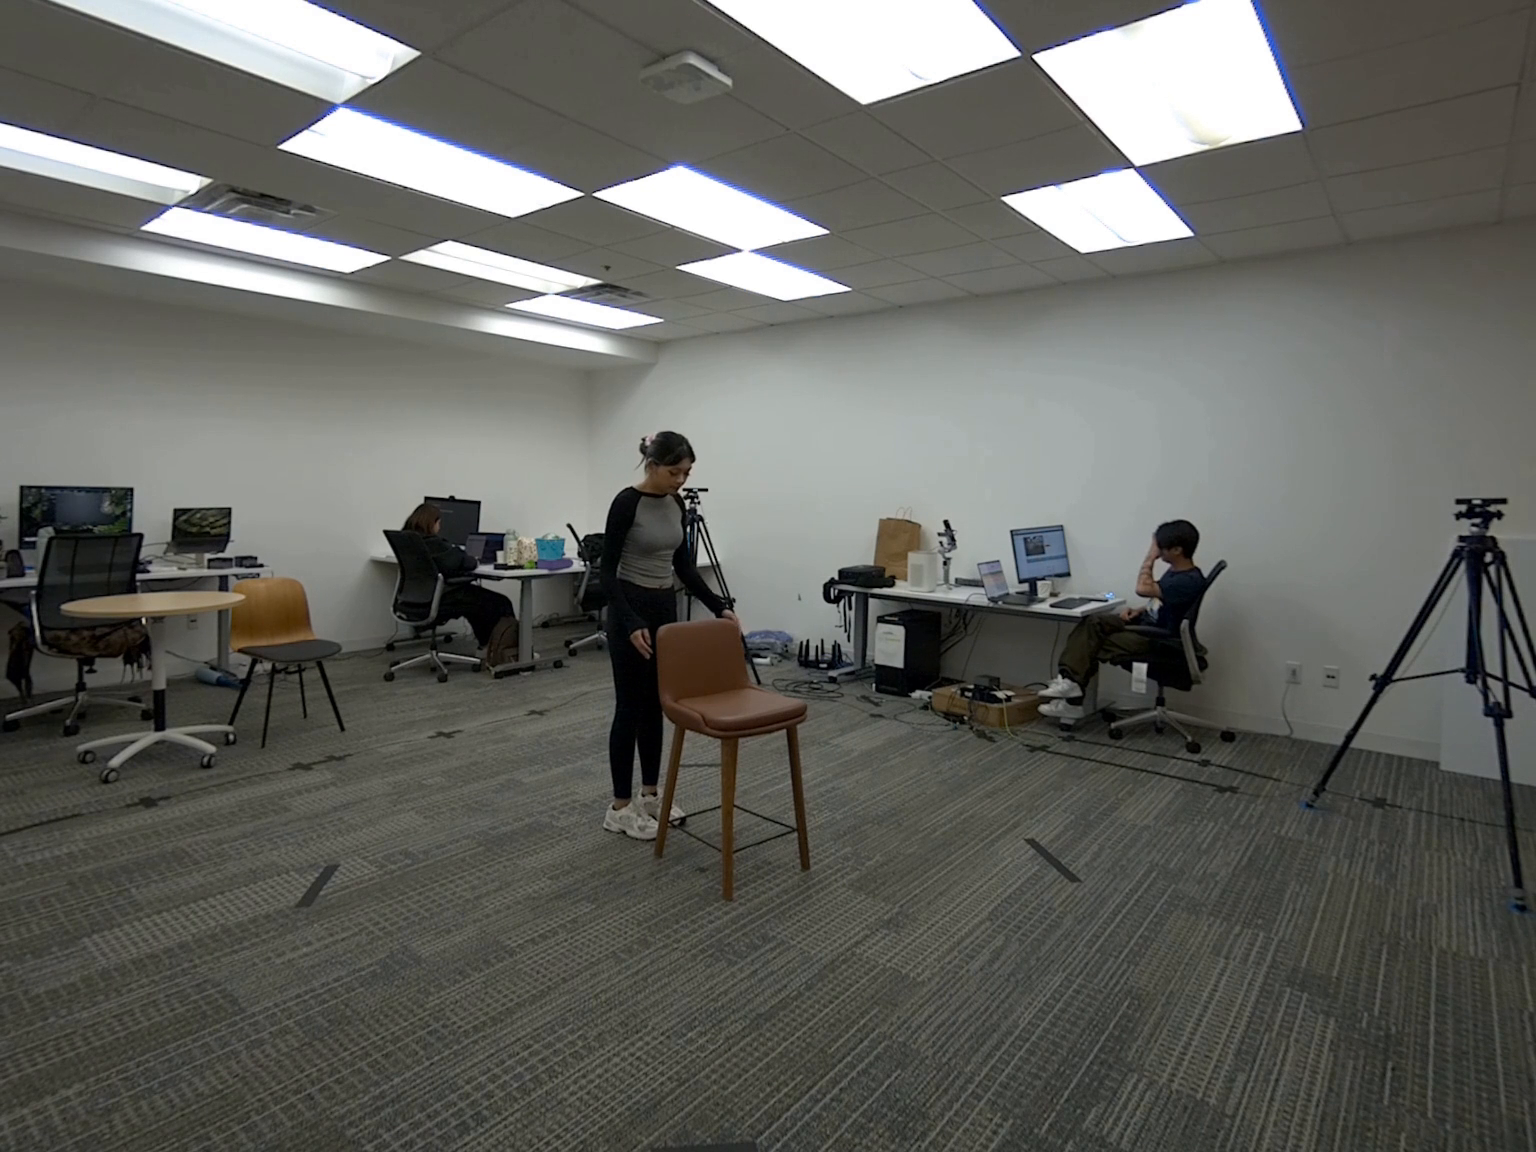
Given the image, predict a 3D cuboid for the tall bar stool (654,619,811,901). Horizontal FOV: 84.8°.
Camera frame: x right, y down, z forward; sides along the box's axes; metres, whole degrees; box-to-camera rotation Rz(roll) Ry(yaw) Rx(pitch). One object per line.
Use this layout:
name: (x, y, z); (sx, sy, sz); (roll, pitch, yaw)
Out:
tall bar stool: (-0.148, 0.628, 3.148); (0.443, 0.889, 0.483); (-2, 2, -42)
